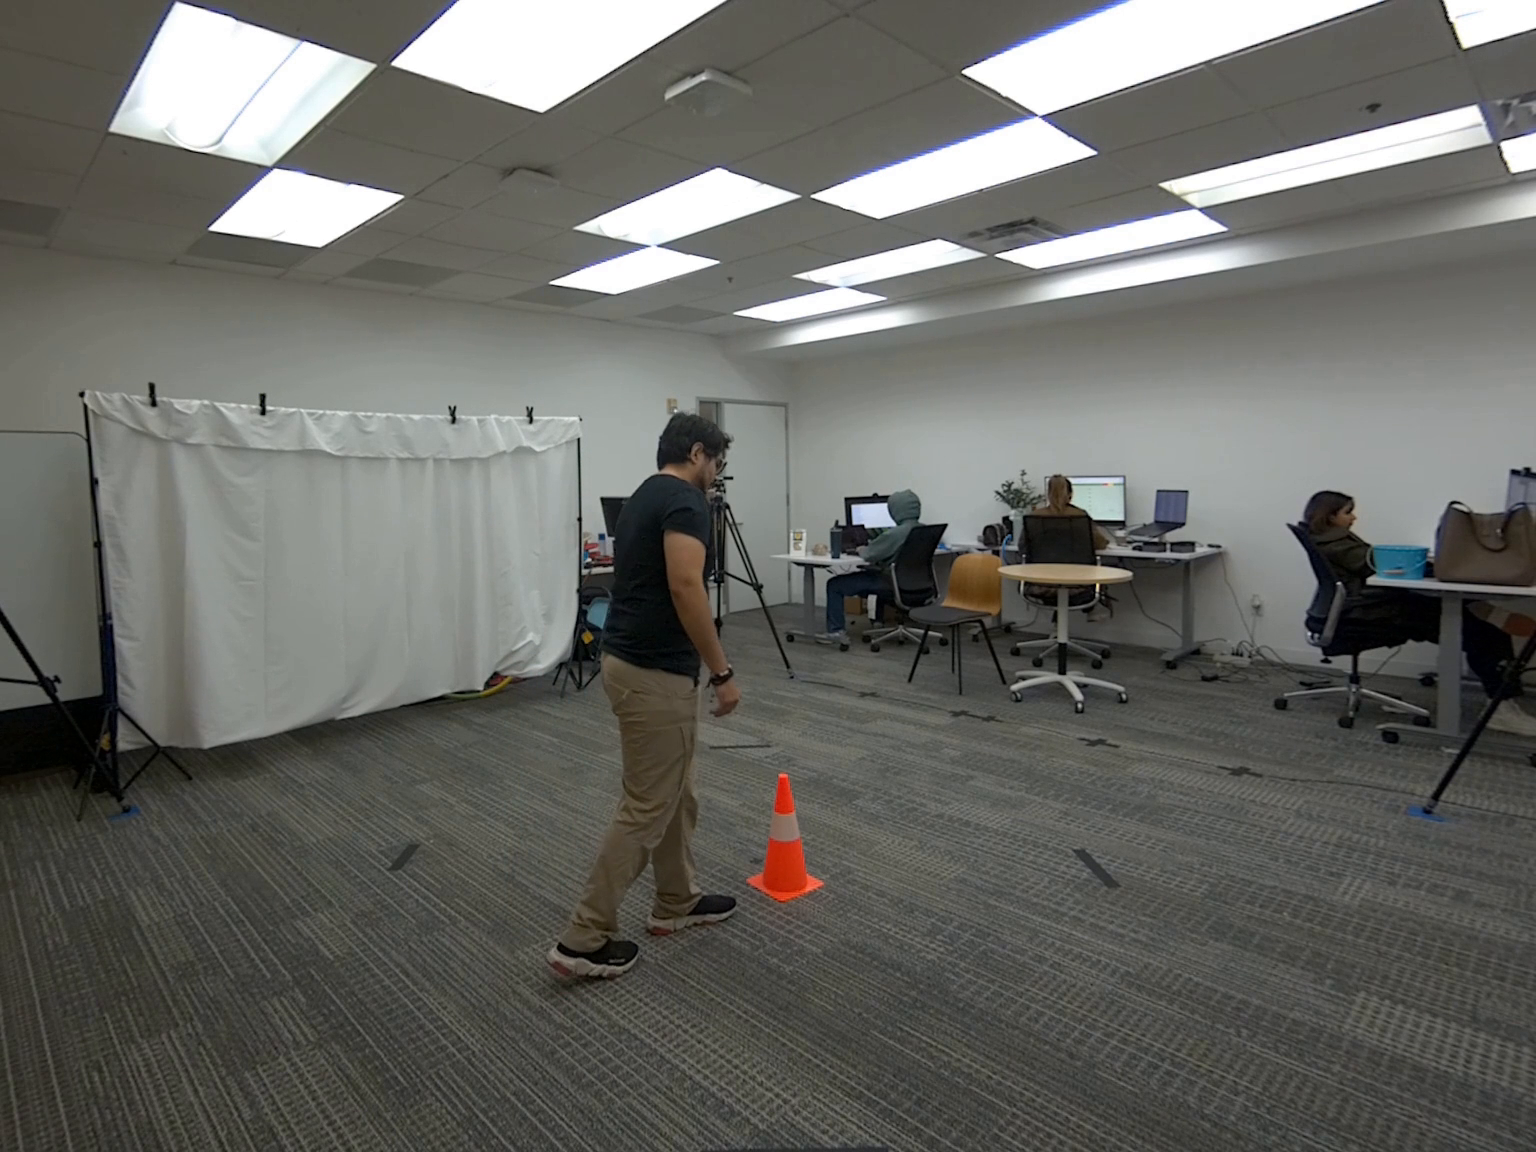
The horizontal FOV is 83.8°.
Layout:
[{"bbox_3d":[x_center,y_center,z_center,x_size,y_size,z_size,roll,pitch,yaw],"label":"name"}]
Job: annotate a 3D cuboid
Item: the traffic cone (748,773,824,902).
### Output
[{"bbox_3d":[0.056,0.871,2.924,0.200,0.382,0.209,-5,6,-36],"label":"traffic cone"}]
